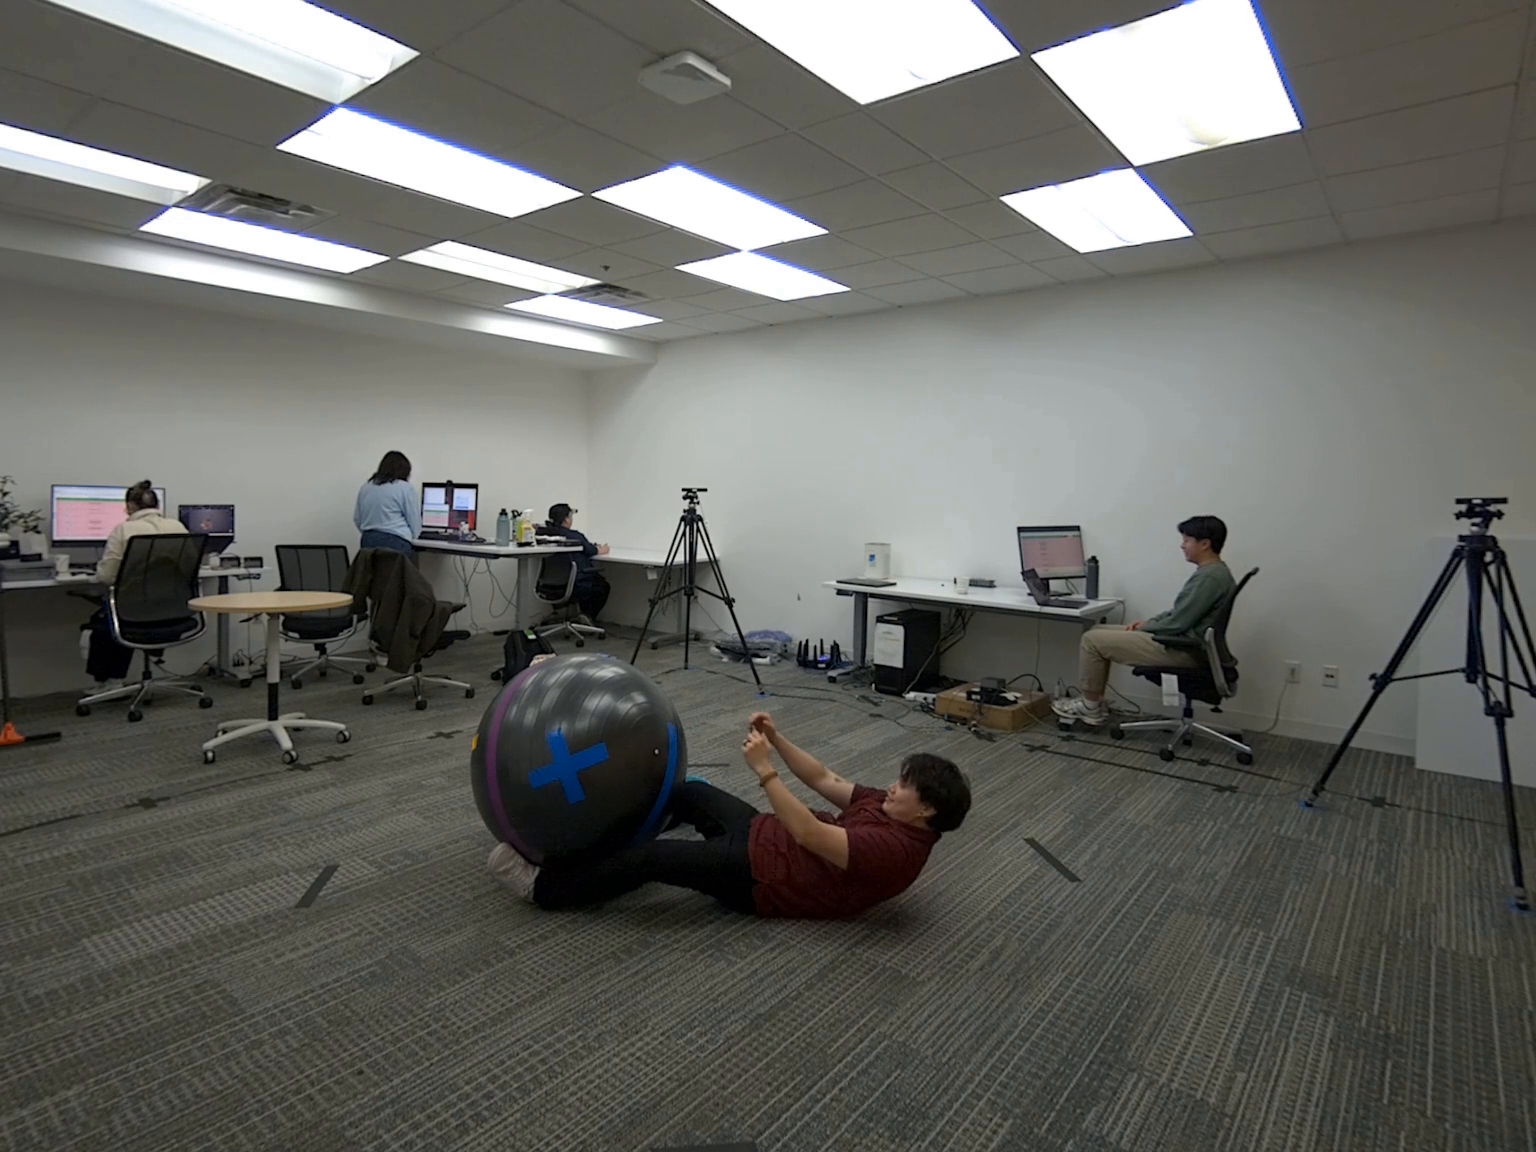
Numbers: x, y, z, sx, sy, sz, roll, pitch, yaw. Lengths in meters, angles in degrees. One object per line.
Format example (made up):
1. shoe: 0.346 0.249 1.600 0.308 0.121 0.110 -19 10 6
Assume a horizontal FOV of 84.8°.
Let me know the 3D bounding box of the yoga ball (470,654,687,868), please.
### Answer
1. yoga ball: -0.680 0.655 3.027 0.757 0.755 0.762 1 4 -2
